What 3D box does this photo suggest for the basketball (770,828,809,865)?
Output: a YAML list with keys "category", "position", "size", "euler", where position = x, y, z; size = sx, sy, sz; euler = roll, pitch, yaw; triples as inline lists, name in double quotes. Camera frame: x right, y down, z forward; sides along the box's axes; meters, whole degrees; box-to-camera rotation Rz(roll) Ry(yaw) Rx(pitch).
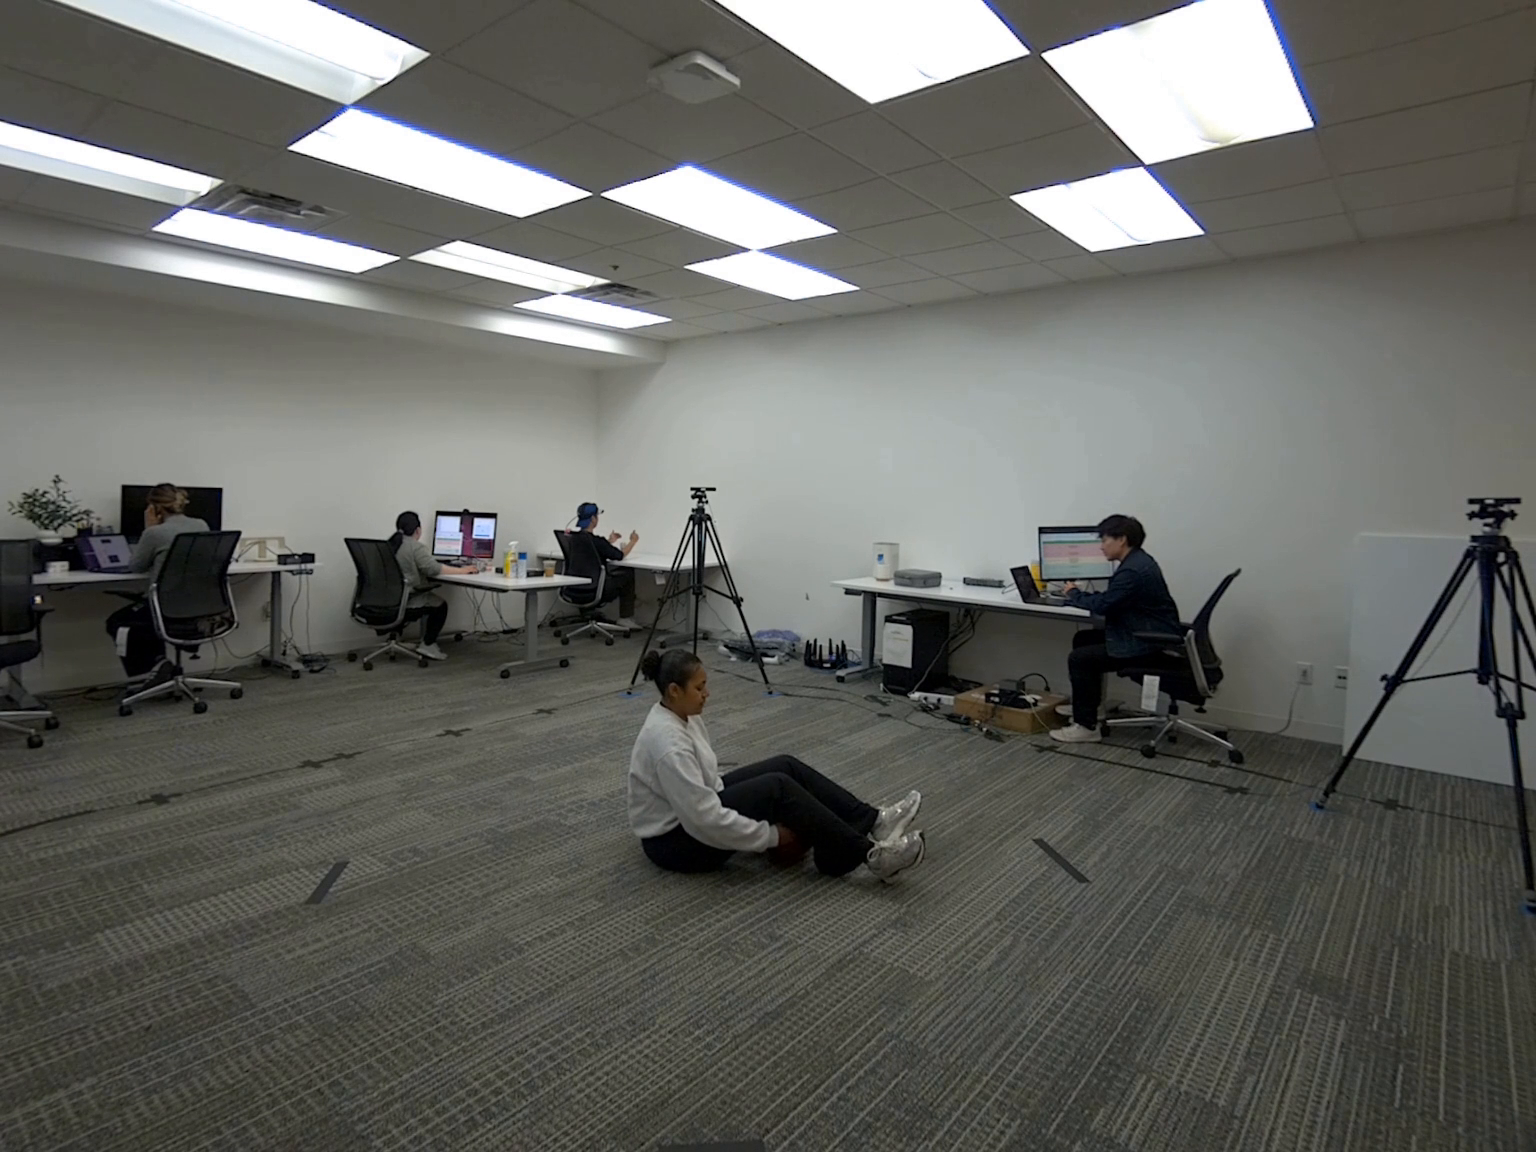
- category: "basketball"
  position: [0.067, 0.936, 3.207]
  size: [0.235, 0.235, 0.237]
  euler: [1, 4, -2]
